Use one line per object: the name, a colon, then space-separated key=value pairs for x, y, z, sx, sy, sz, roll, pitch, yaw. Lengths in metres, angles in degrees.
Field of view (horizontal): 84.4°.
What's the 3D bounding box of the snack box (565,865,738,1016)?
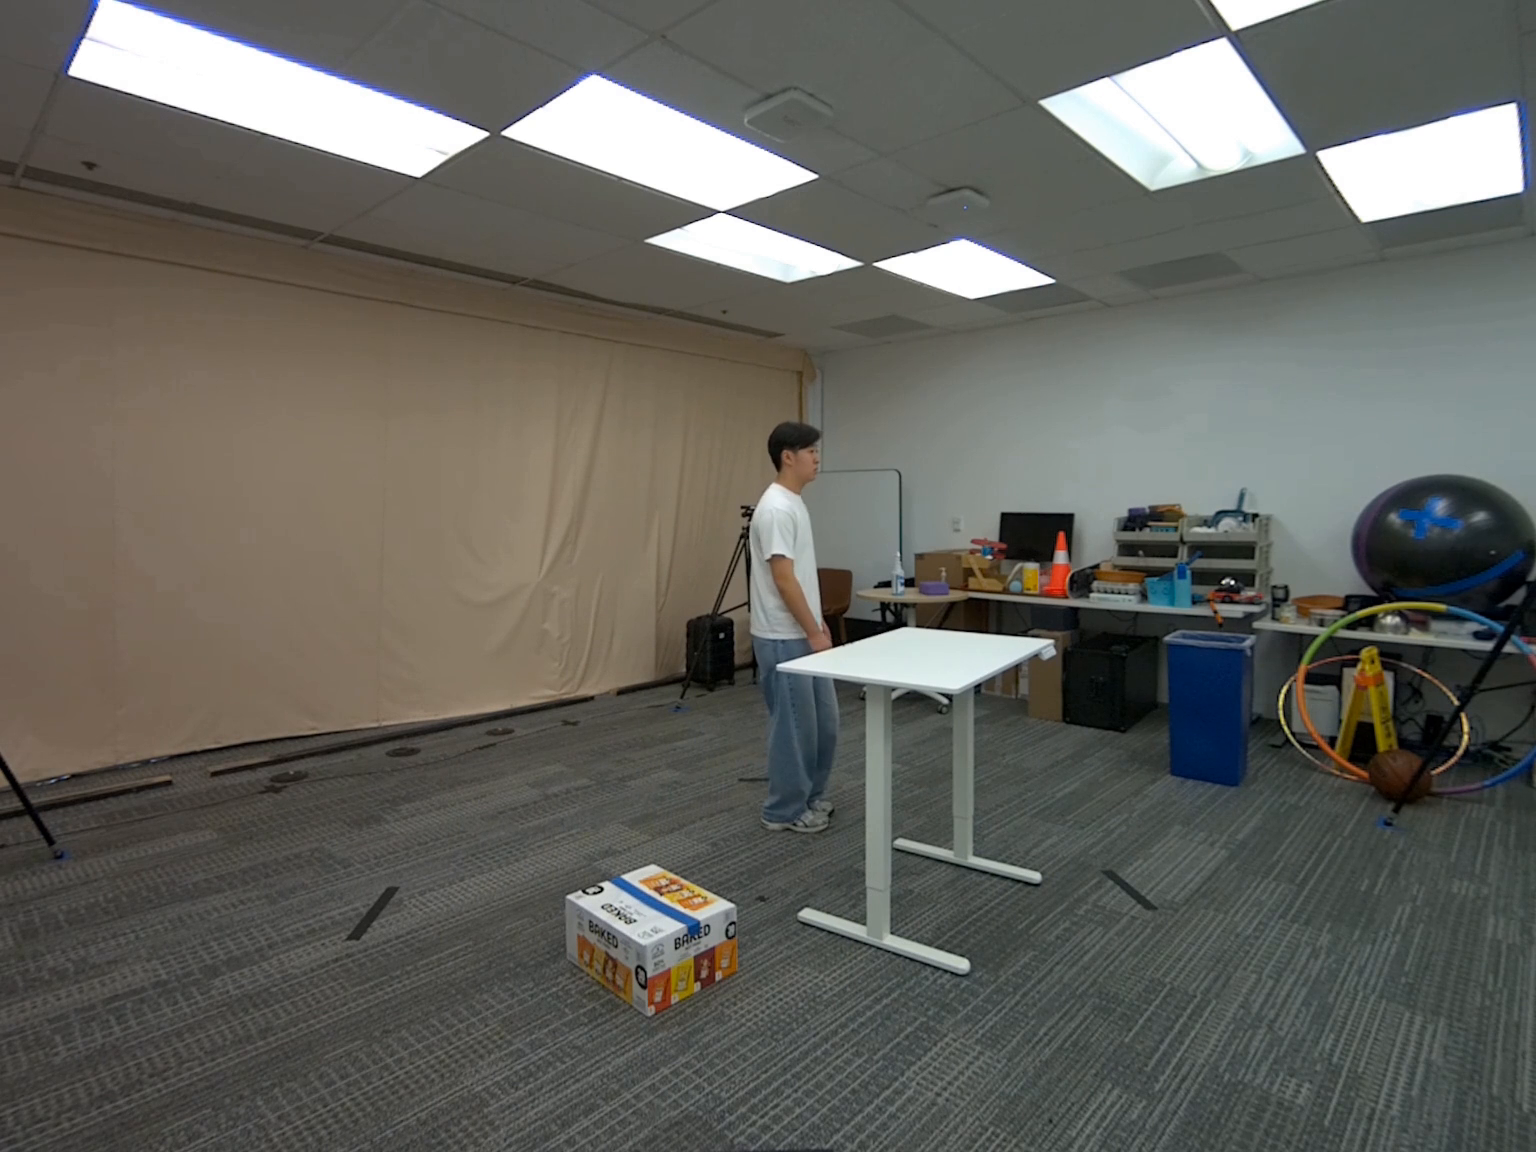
snack box: x=-0.353 y=1.081 z=2.542 sx=0.330 sy=0.205 sz=0.419 roll=-4 pitch=6 yaw=-44
